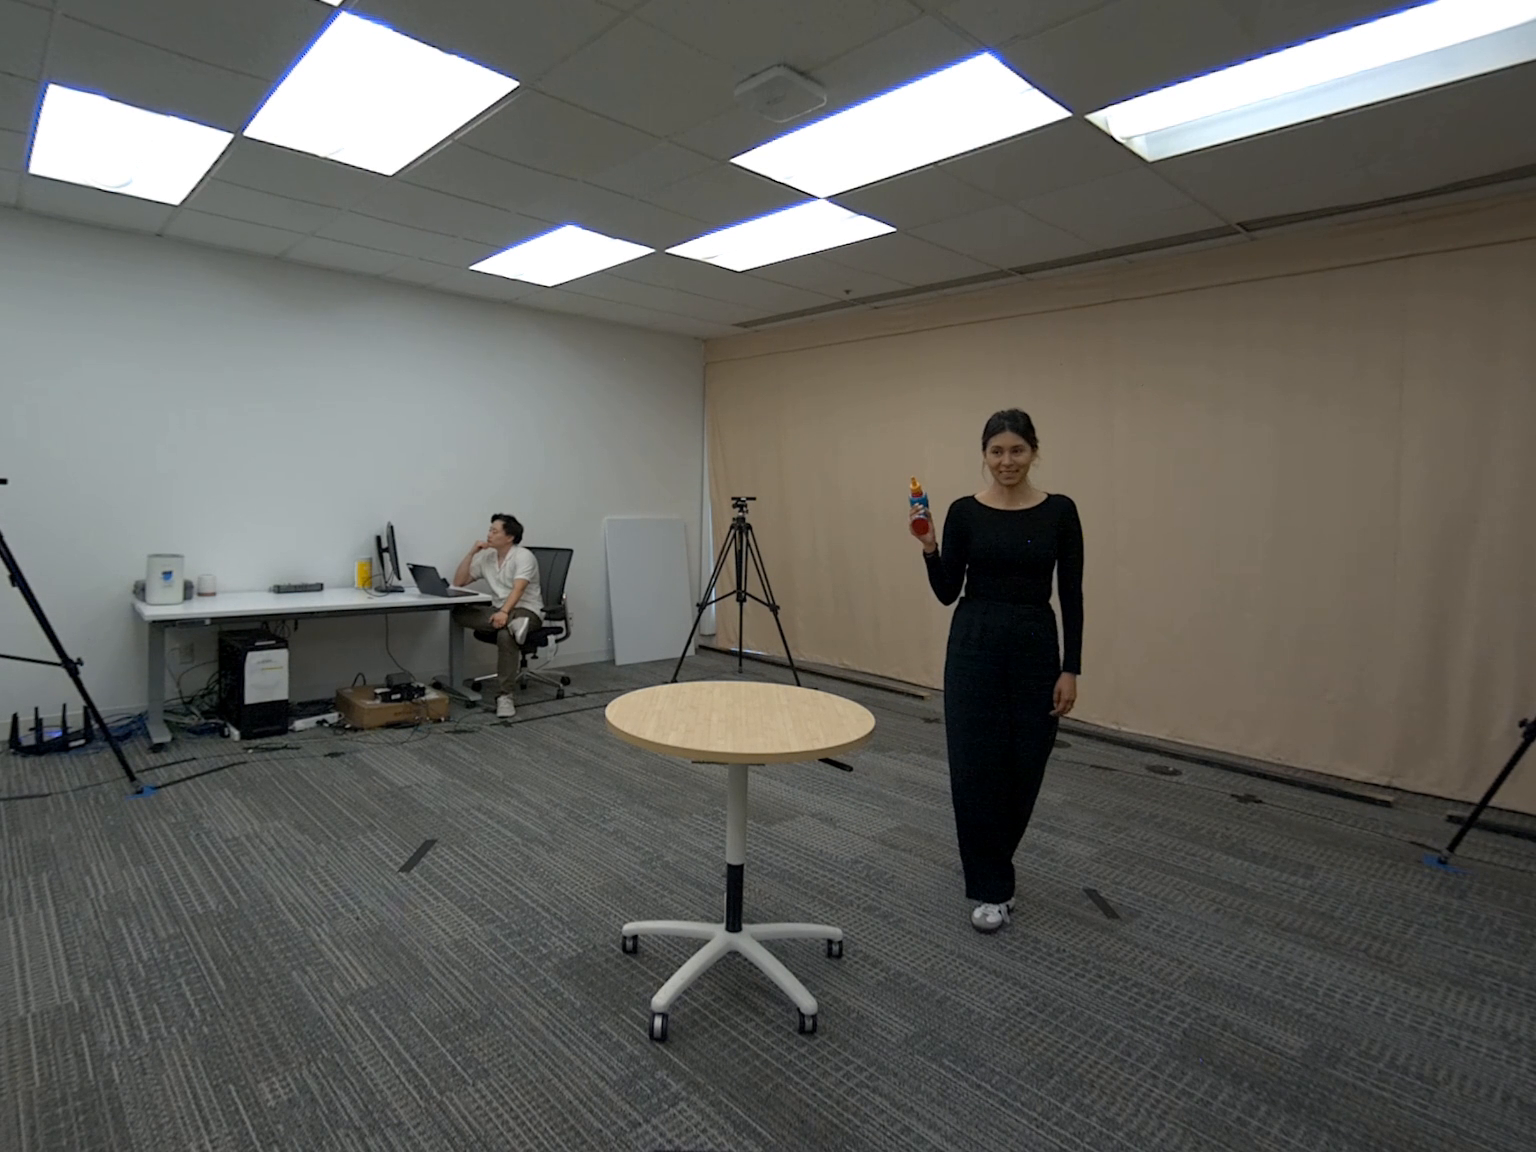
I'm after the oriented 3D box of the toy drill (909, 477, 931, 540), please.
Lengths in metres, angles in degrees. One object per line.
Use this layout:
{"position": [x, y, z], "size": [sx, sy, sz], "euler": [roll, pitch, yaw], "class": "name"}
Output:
{"position": [0.499, -0.230, 2.737], "size": [0.062, 0.165, 0.148], "euler": [-6, 38, 15], "class": "toy drill"}
